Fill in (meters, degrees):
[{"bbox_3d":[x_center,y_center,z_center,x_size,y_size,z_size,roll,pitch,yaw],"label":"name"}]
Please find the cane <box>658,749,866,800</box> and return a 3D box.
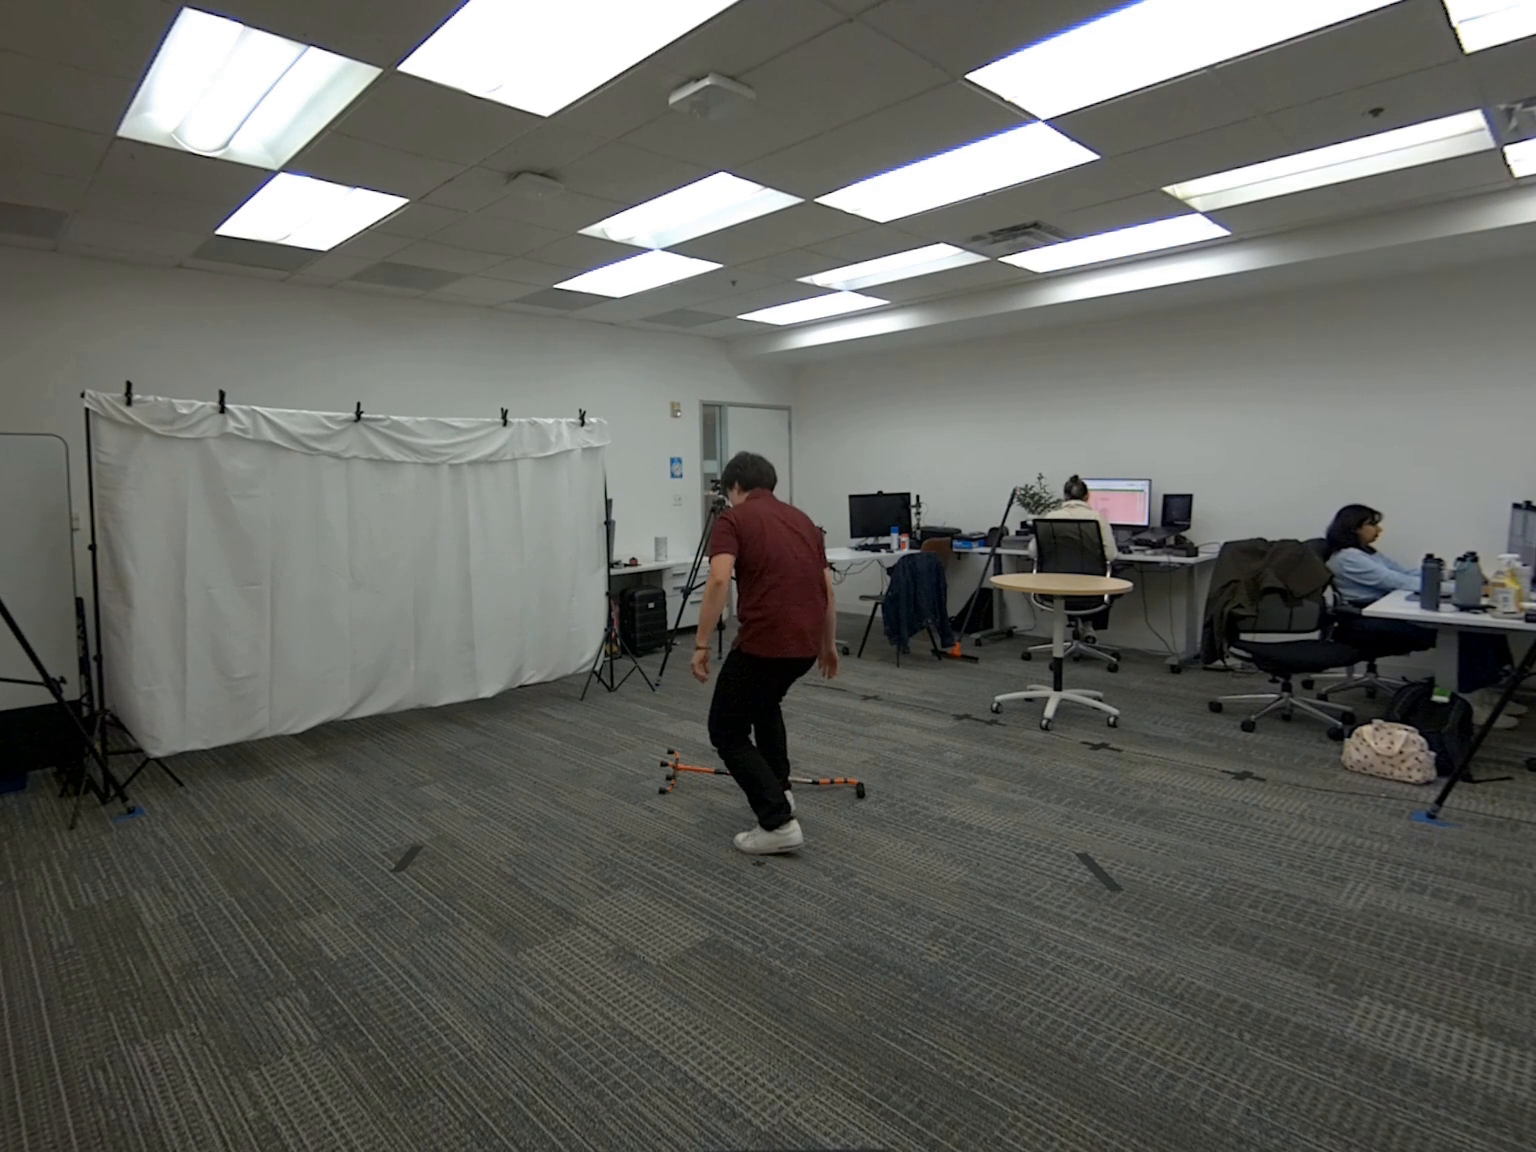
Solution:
[{"bbox_3d":[-0.025,0.918,3.866,0.915,0.151,0.206,4,6,7],"label":"cane"}]
